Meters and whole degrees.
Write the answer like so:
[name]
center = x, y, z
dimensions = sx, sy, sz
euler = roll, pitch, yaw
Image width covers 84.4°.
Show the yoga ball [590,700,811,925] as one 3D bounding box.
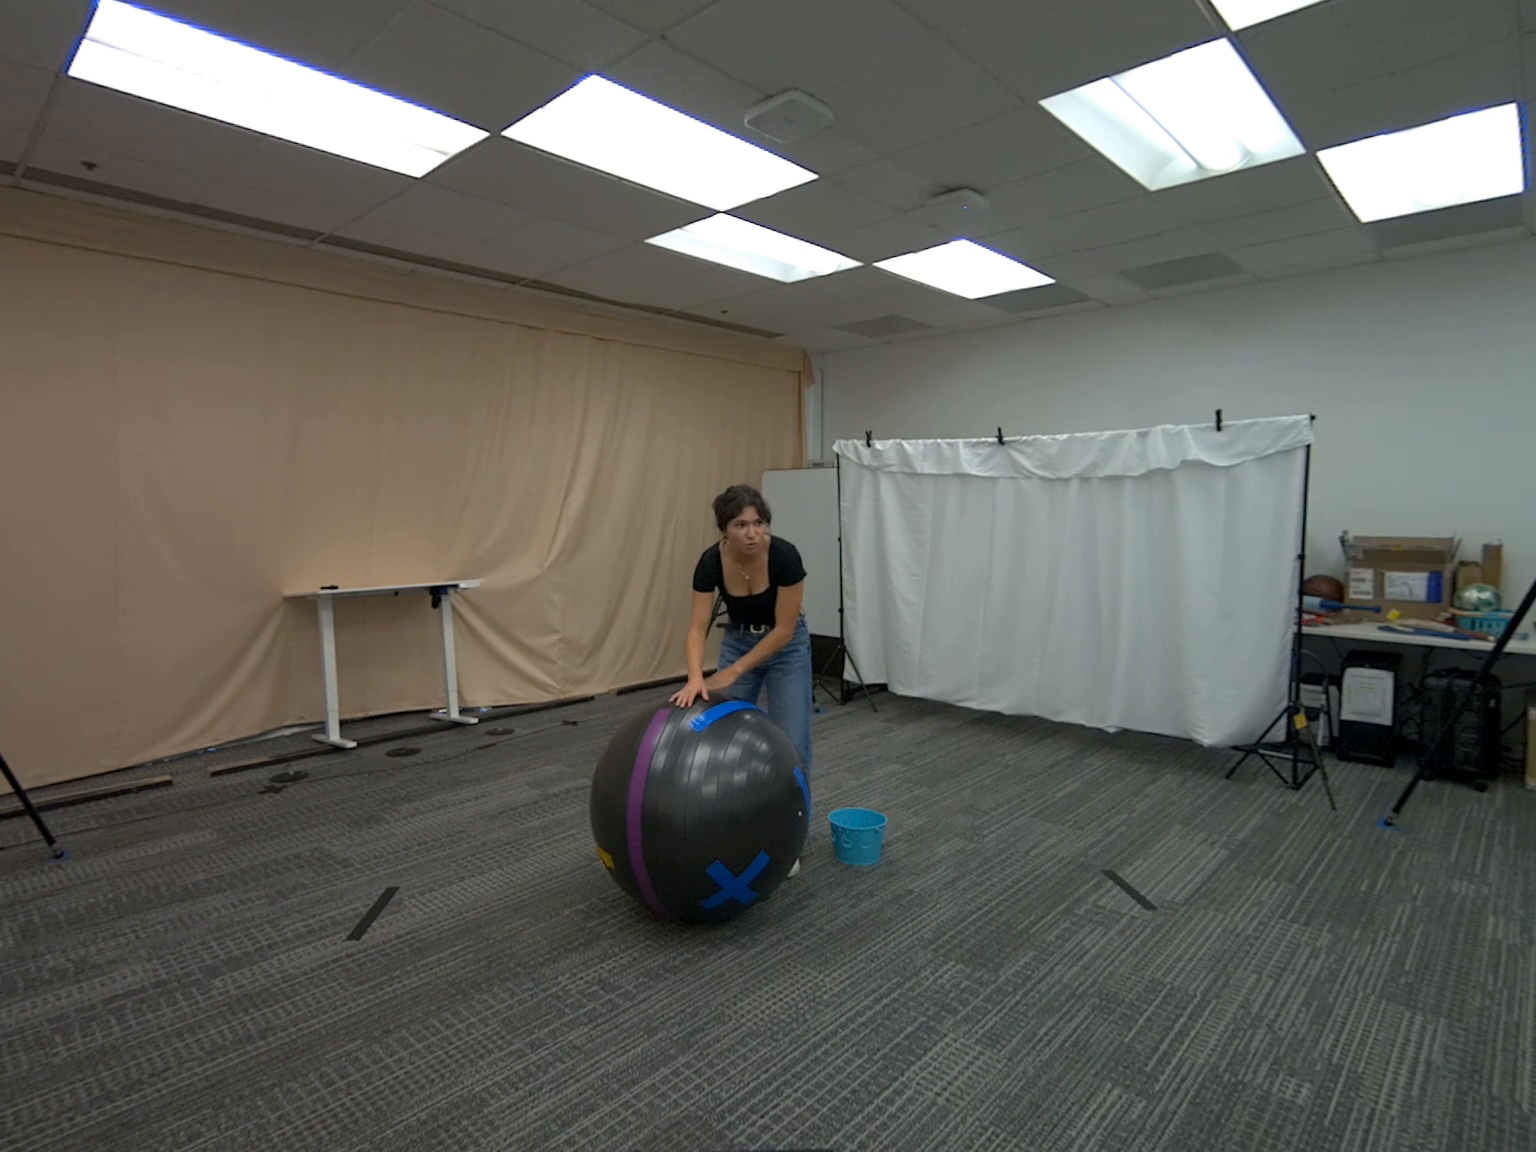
[yoga ball]
center = -0.231, 0.788, 2.894
dimensions = 0.757, 0.756, 0.760
euler = 0, 4, -2
